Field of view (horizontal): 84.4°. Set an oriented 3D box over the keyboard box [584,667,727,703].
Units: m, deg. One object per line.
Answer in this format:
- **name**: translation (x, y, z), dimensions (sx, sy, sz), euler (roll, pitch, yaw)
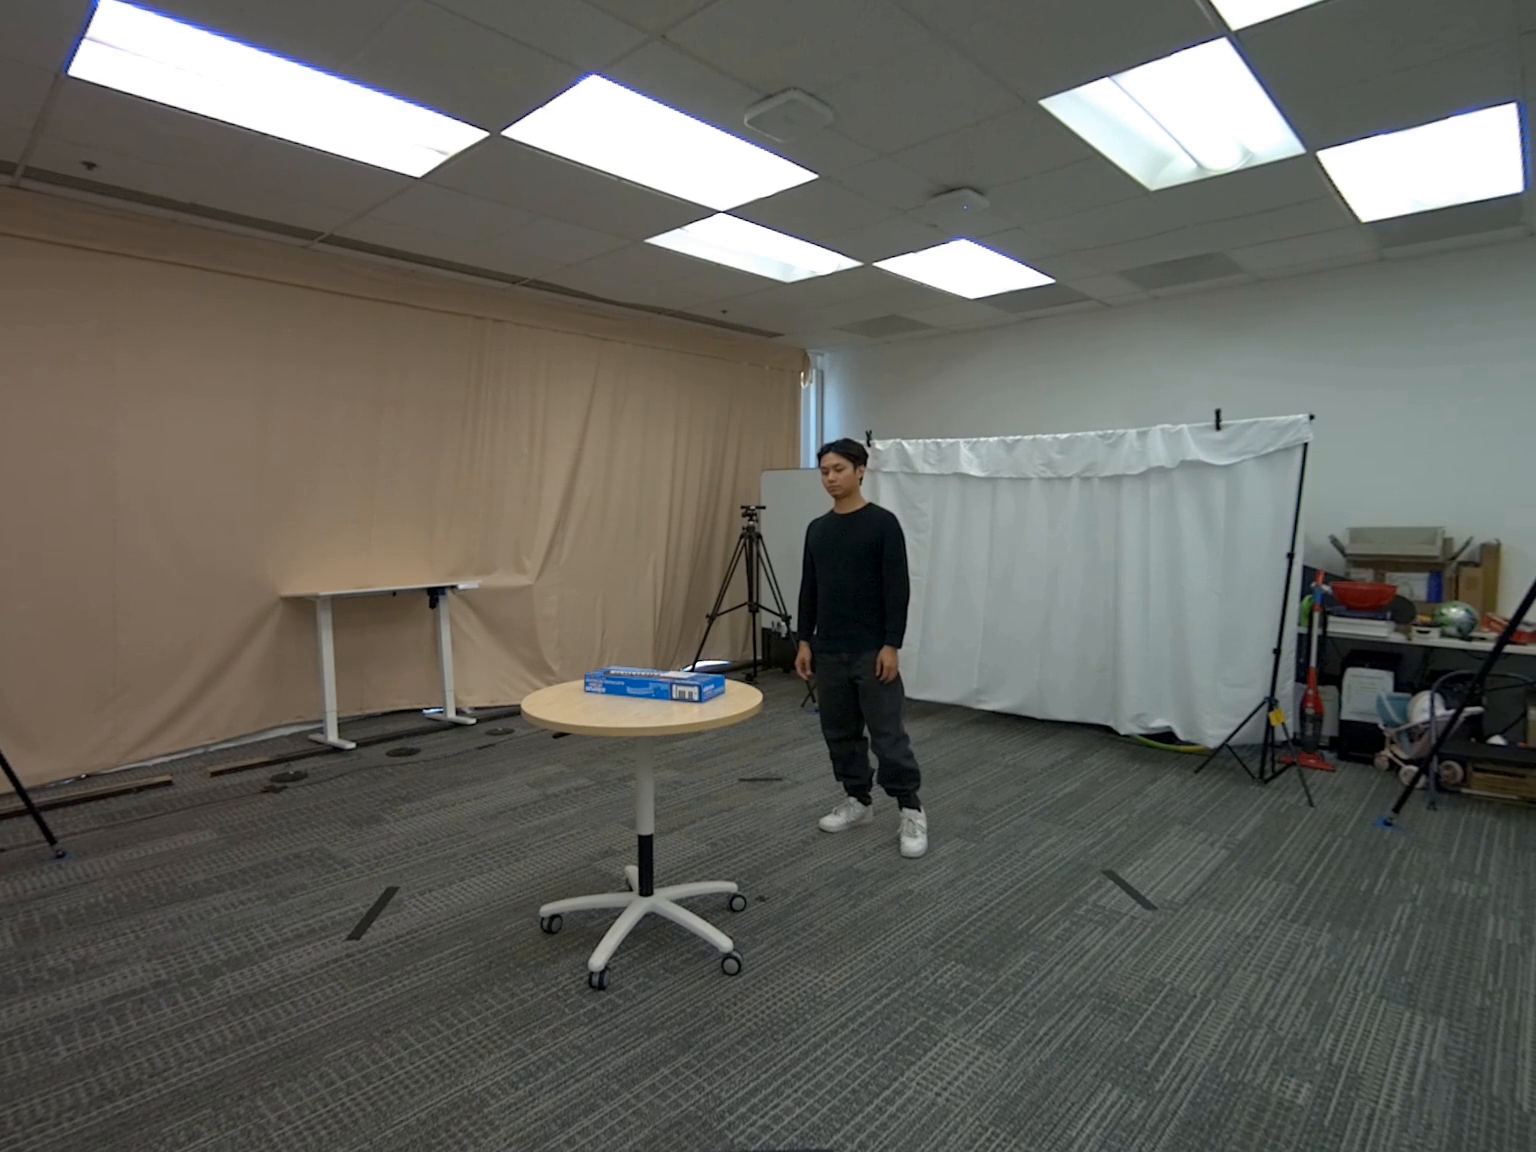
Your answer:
- **keyboard box**: translation (-0.370, 0.351, 2.762), dimensions (0.448, 0.059, 0.172), euler (1, 4, 24)
